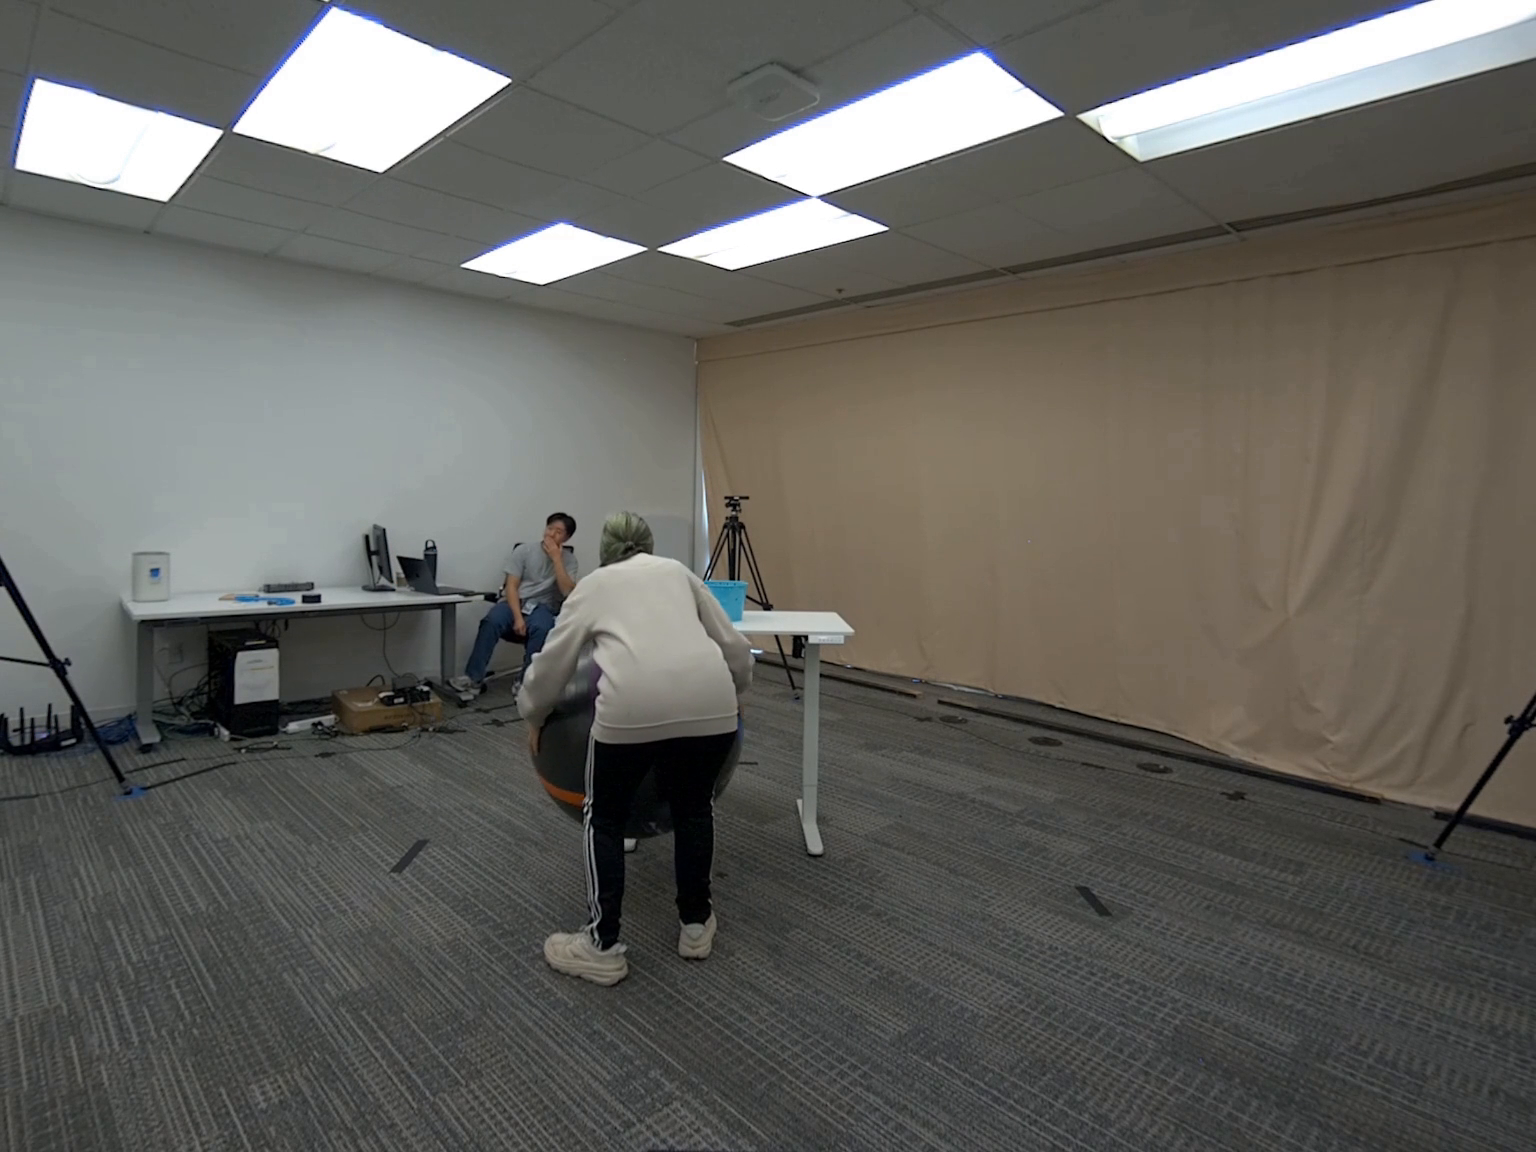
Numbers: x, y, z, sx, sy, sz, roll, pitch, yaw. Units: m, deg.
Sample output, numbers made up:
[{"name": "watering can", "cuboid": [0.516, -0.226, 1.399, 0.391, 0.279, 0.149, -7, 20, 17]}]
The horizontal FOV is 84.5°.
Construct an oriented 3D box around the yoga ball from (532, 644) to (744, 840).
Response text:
[{"name": "yoga ball", "cuboid": [-0.473, 0.548, 2.981, 0.757, 0.756, 0.761, 1, 4, -1]}]
